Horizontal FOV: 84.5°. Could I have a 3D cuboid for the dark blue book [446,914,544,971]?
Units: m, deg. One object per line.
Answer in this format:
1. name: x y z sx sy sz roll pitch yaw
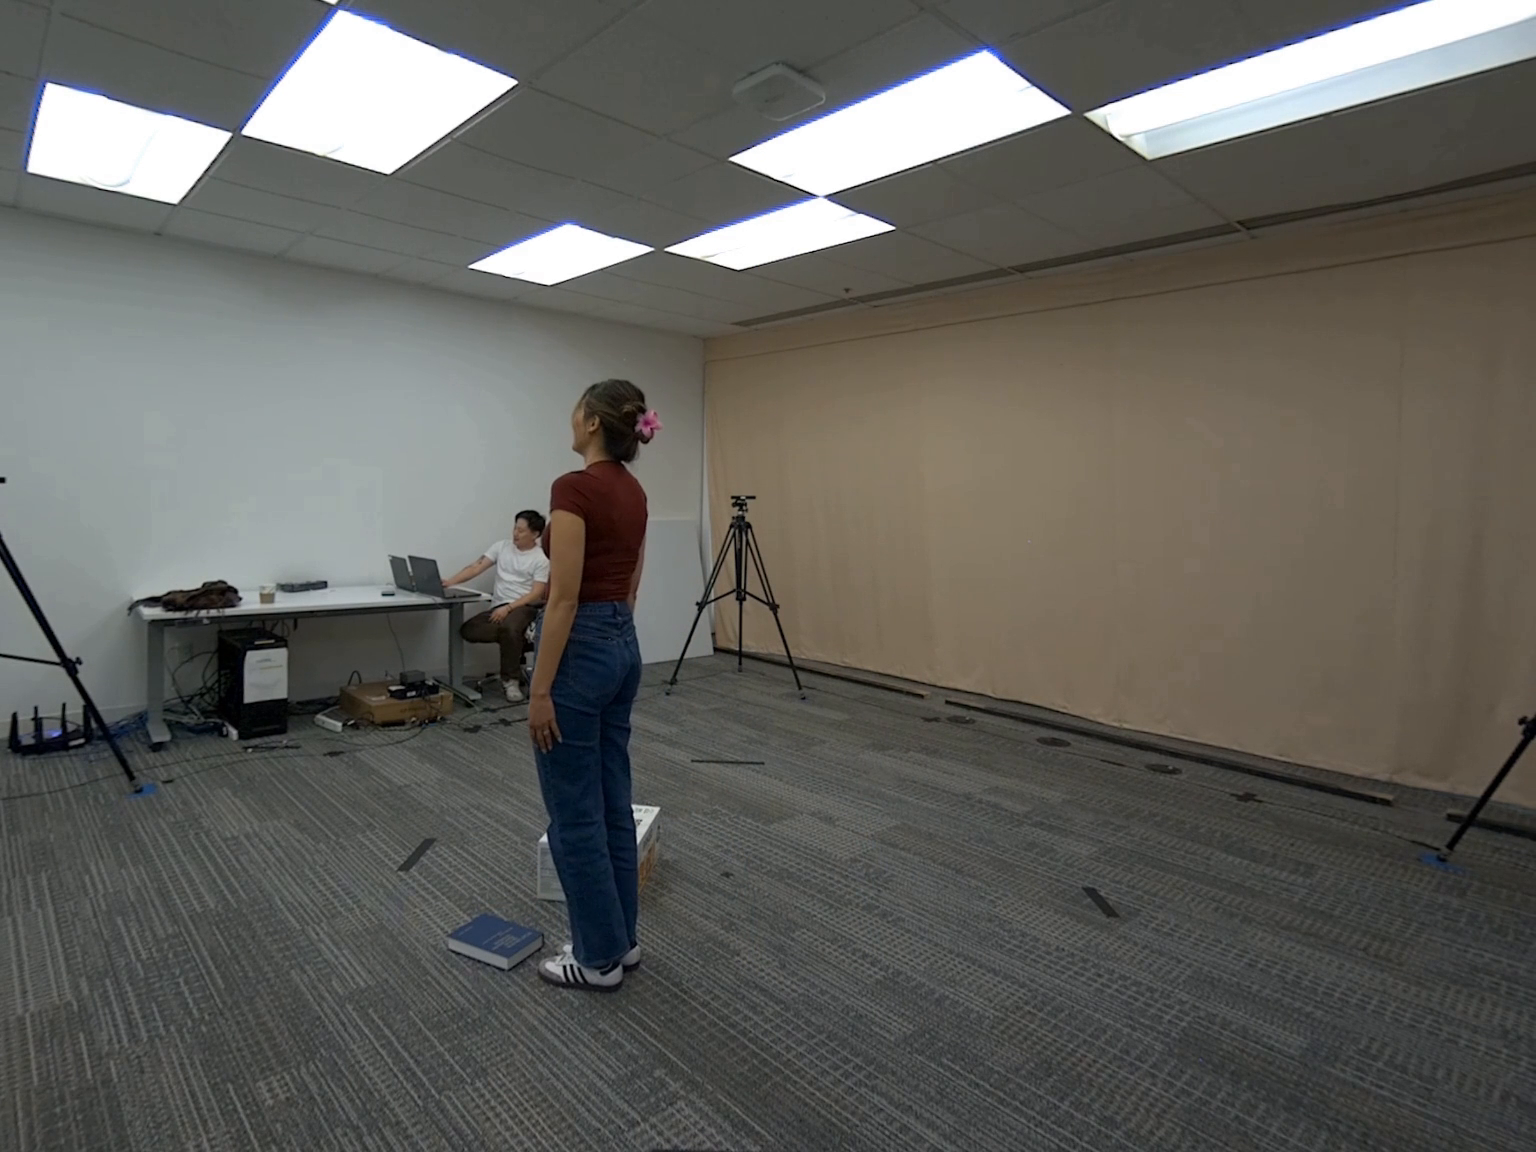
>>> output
1. dark blue book: -0.839 1.120 2.557 0.250 0.045 0.160 6 8 27
